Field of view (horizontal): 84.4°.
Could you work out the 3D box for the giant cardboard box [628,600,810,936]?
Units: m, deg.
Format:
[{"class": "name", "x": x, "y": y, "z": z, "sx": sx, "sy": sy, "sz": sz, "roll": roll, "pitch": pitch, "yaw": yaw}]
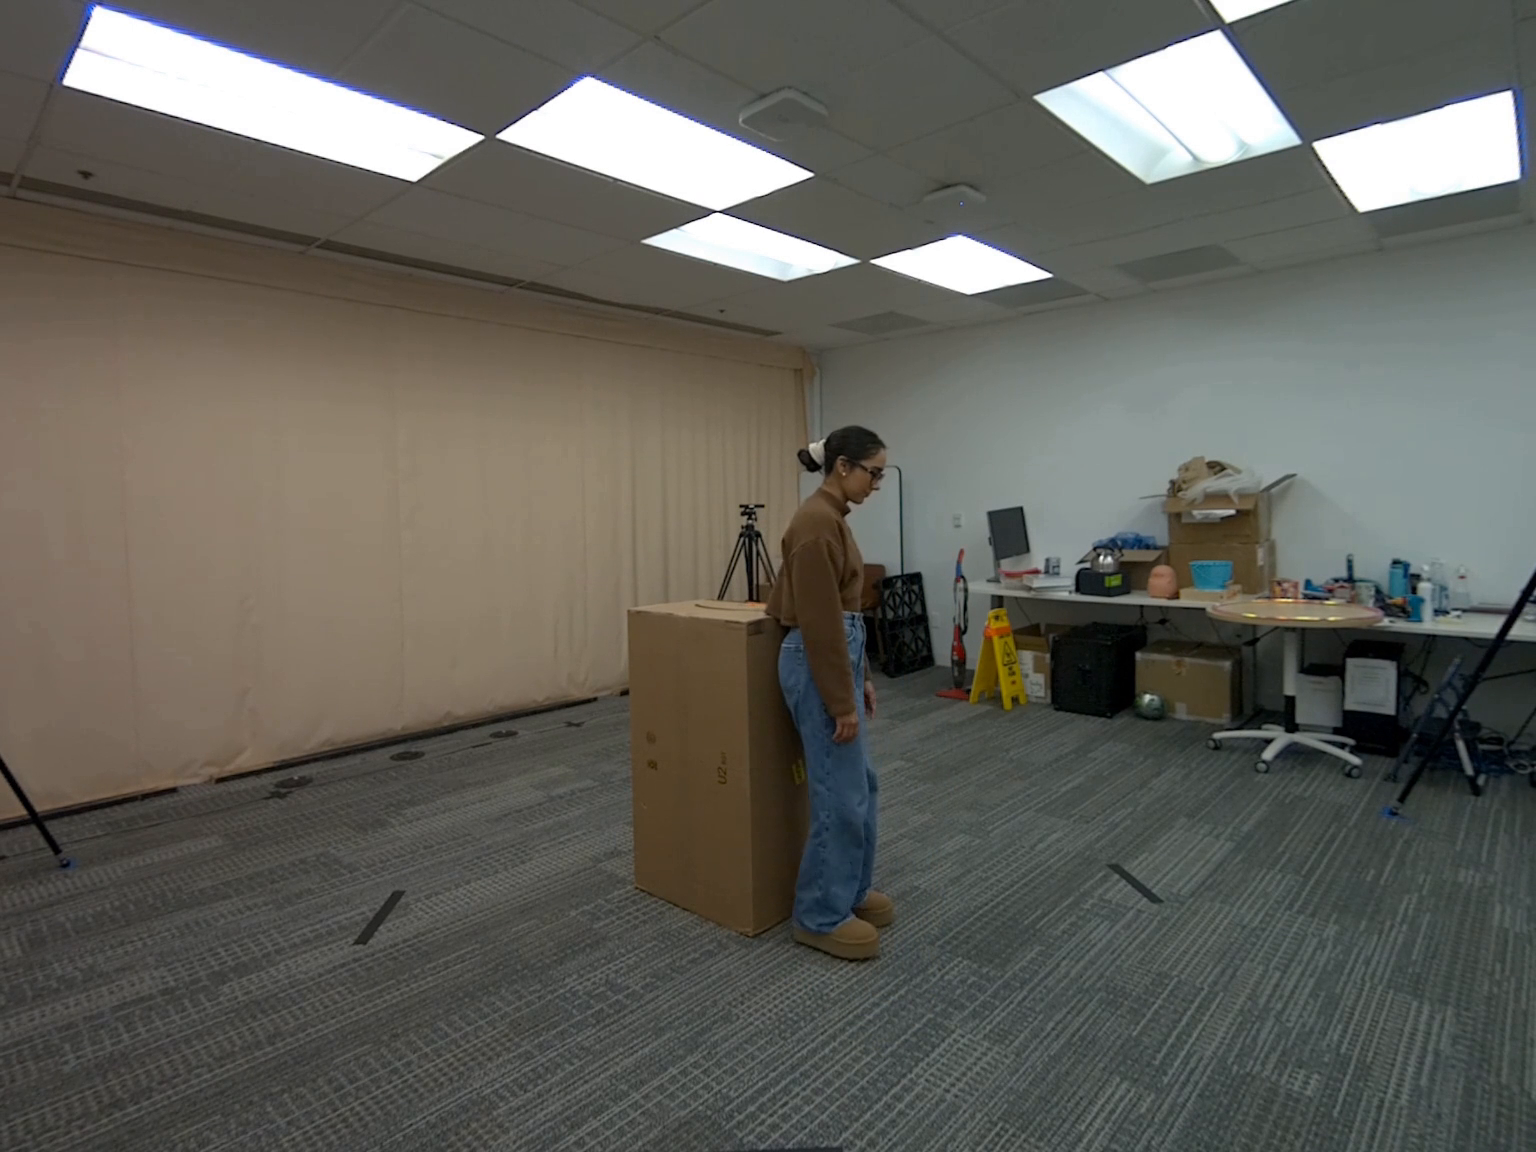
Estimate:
[{"class": "giant cardboard box", "x": -0.147, "y": 0.631, "z": 3.031, "sx": 0.603, "sy": 1.025, "sz": 0.433, "roll": 2, "pitch": 4, "yaw": 40}]
